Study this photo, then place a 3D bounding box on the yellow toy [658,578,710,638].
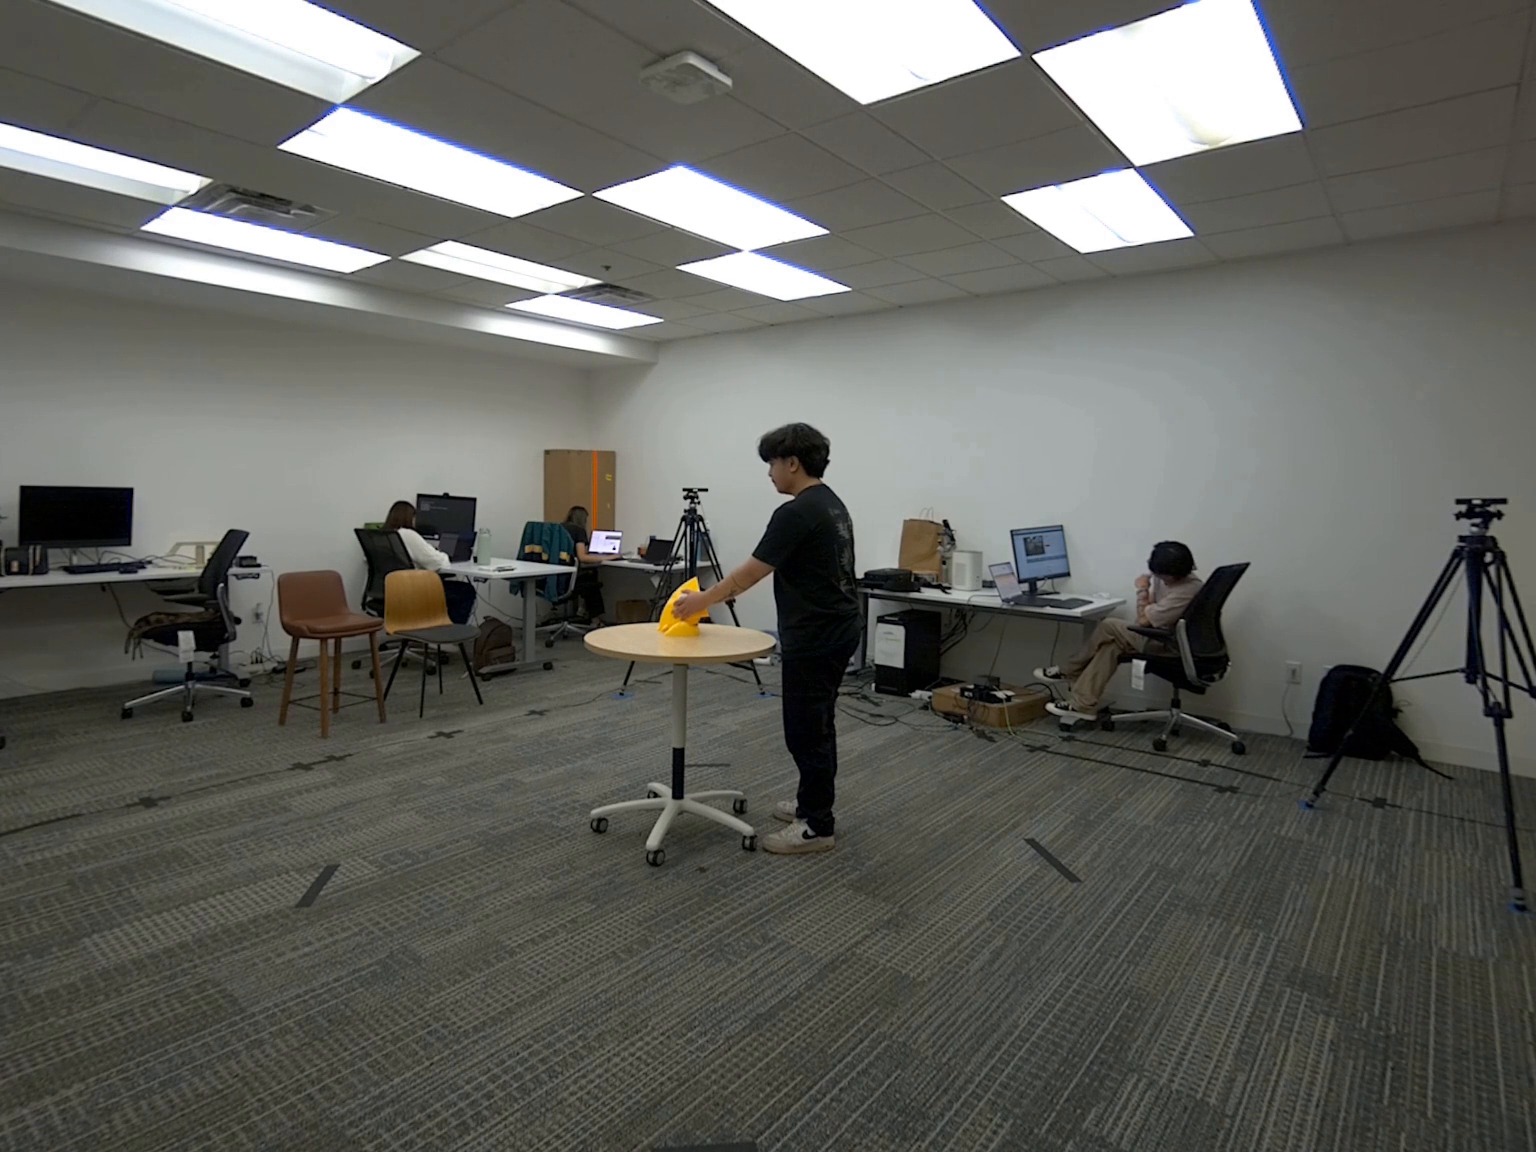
[{"bbox_3d":[-0.371,0.117,3.552,0.189,0.230,0.209,-1,5,-19],"label":"yellow toy"}]
